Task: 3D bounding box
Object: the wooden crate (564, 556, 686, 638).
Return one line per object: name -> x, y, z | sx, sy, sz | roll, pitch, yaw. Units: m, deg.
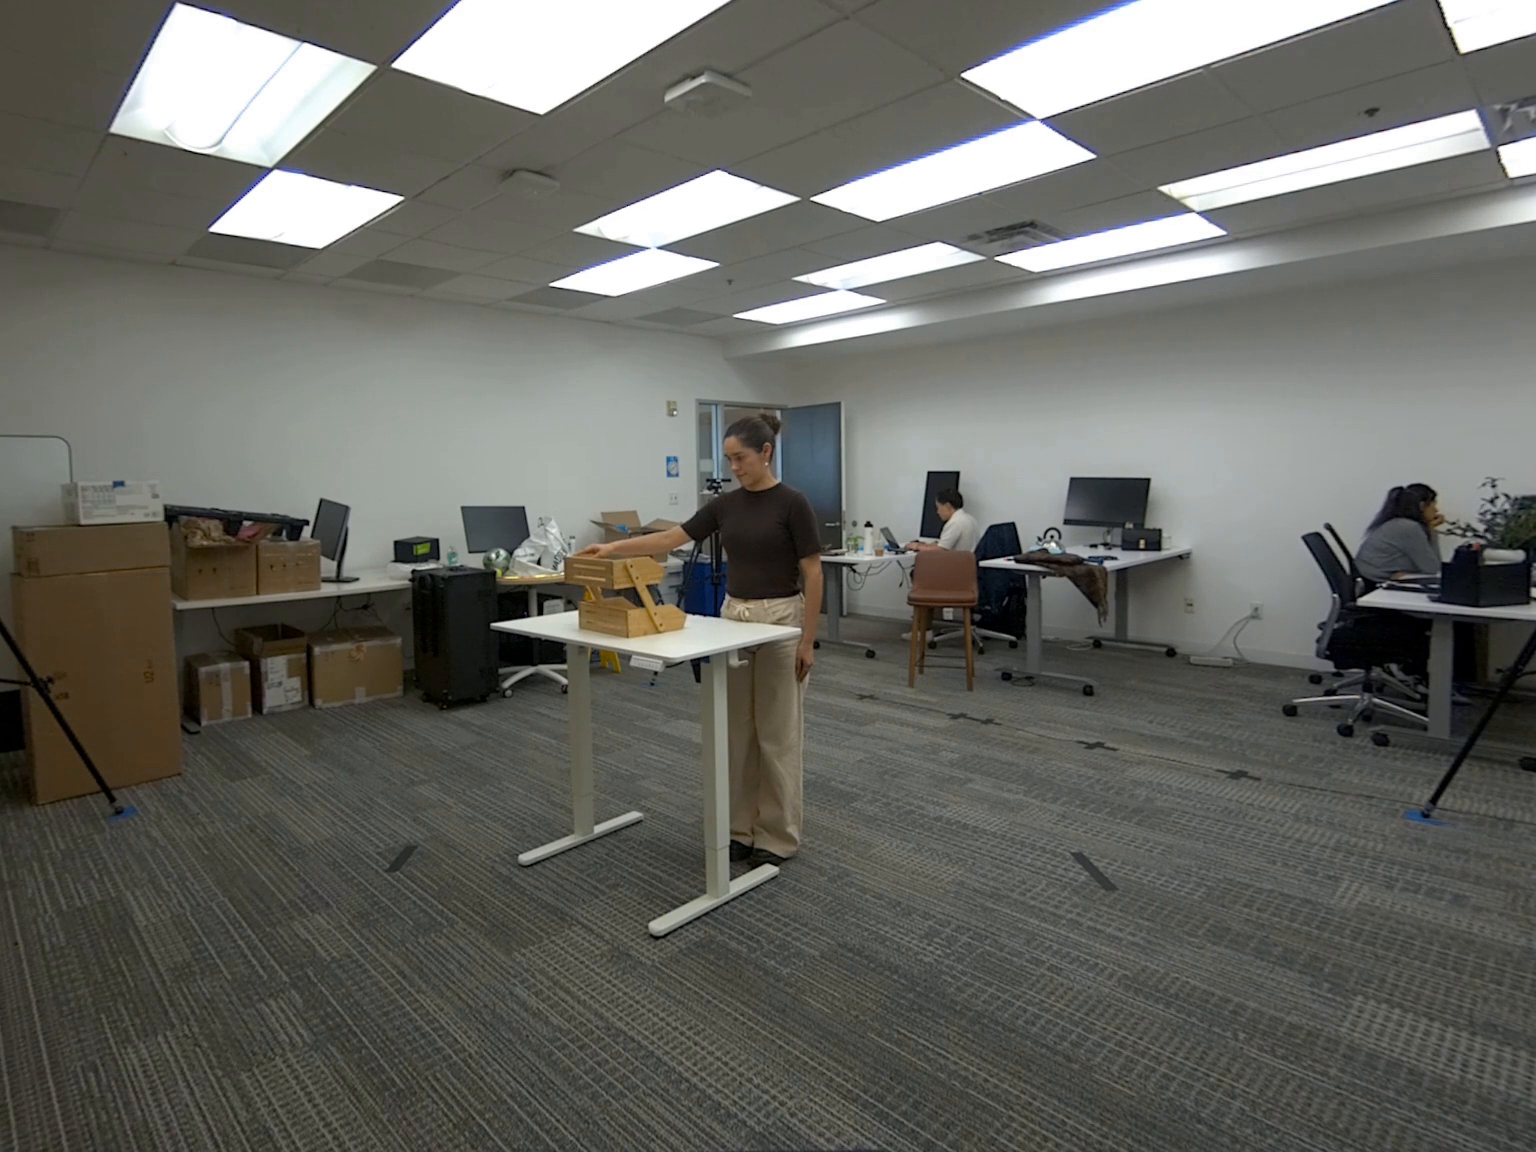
wooden crate -> -0.494, 0.055, 2.960 | 0.294, 0.272, 0.334 | -8, 8, -43
